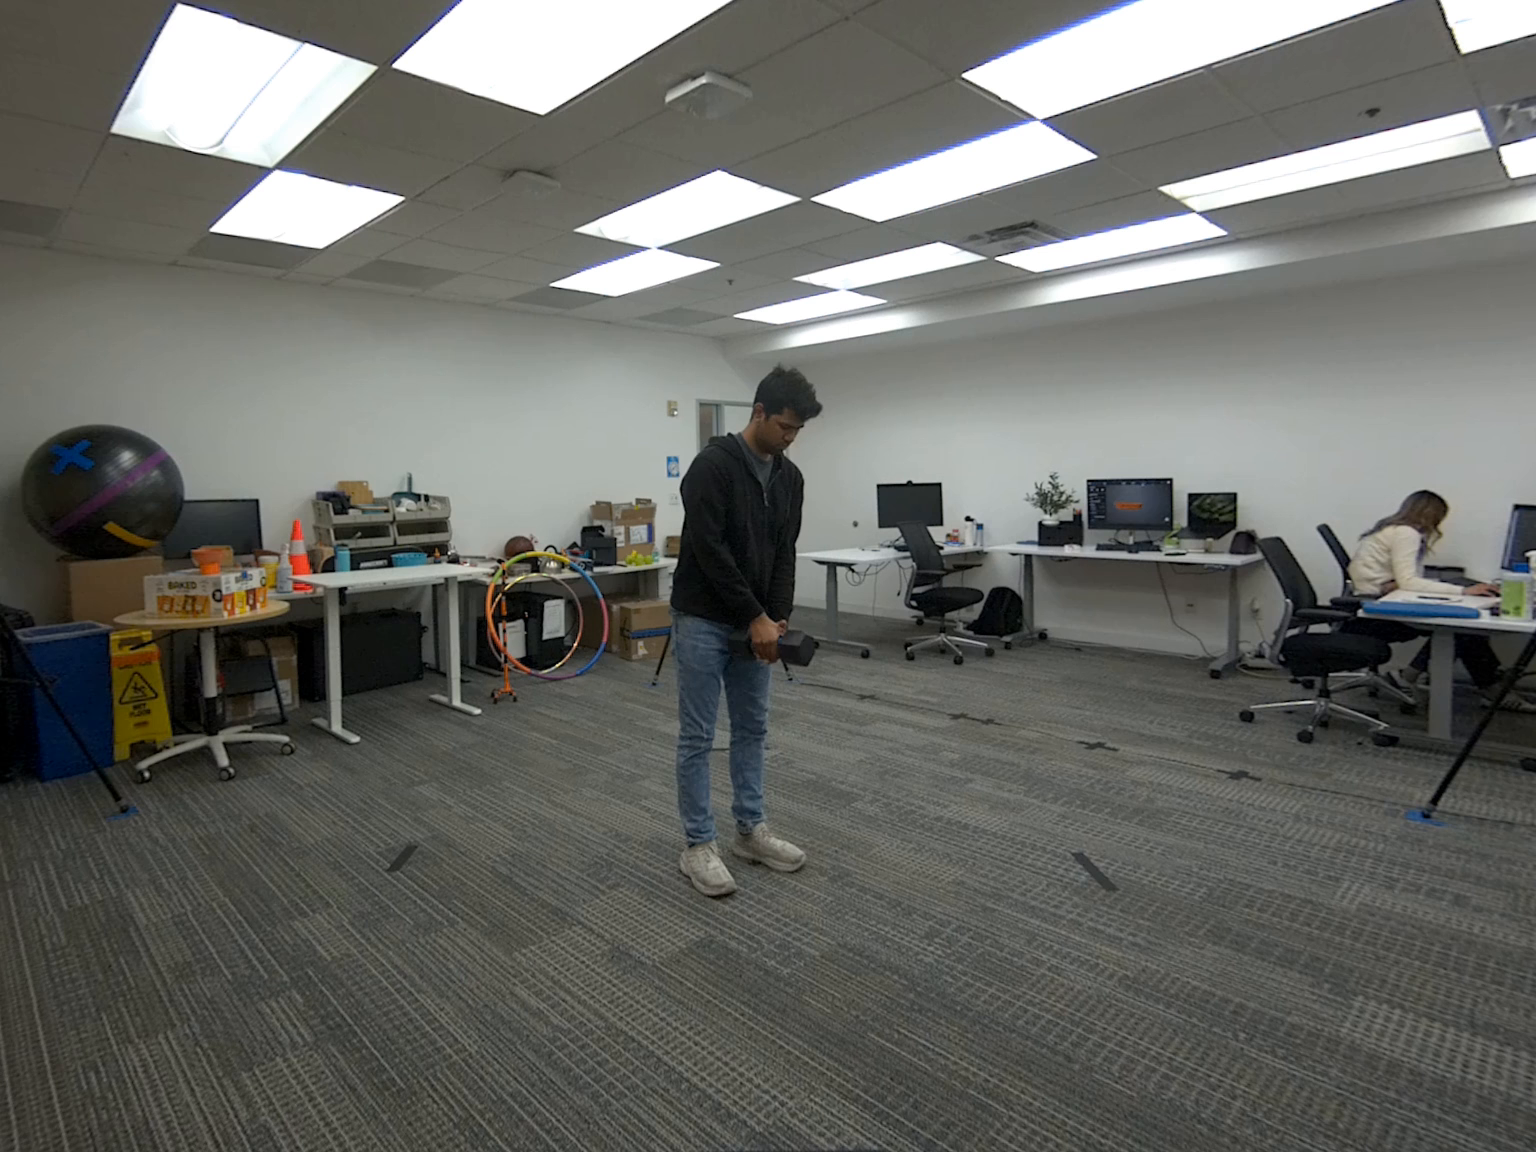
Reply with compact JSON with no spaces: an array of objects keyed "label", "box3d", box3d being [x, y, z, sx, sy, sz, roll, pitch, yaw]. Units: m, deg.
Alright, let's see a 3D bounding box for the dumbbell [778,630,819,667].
[{"label":"dumbbell","box3d":[0.000,0.241,2.838,0.302,0.105,0.124,2,47,39]}]
